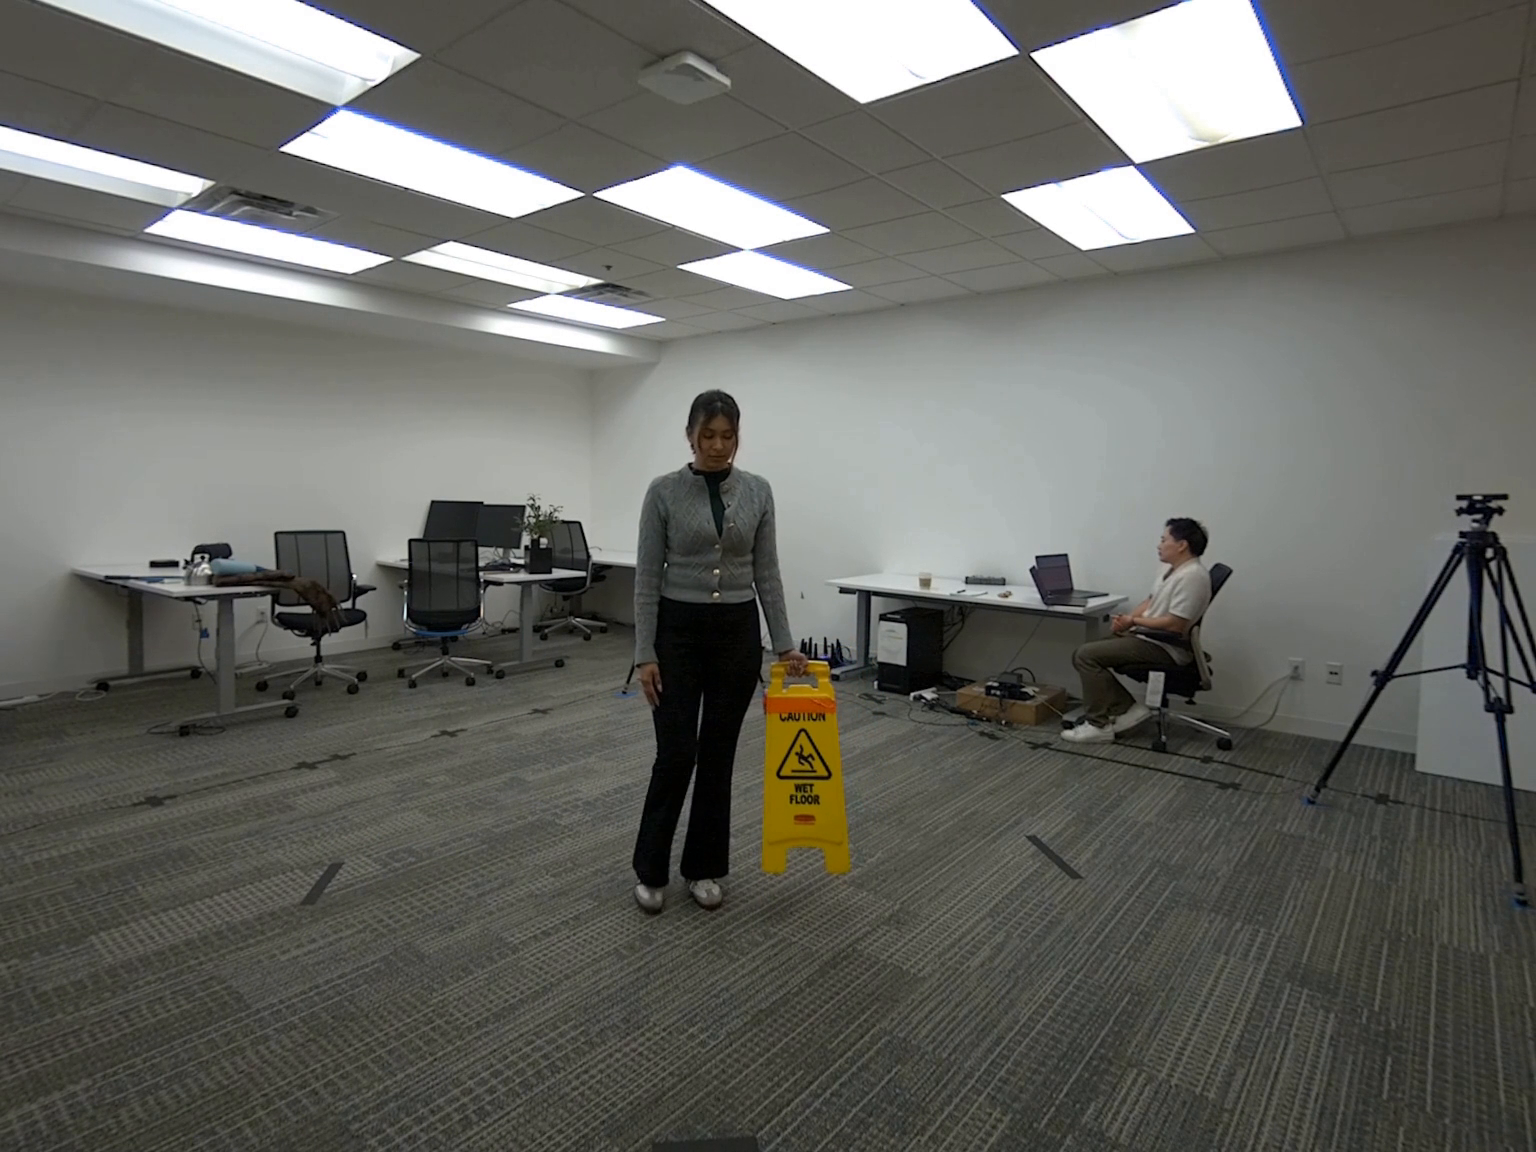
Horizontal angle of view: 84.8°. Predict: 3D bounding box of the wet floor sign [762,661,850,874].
[{"bbox_3d":[0.106,0.611,2.833,0.283,0.647,0.288,-2,-2,3],"label":"wet floor sign"}]
